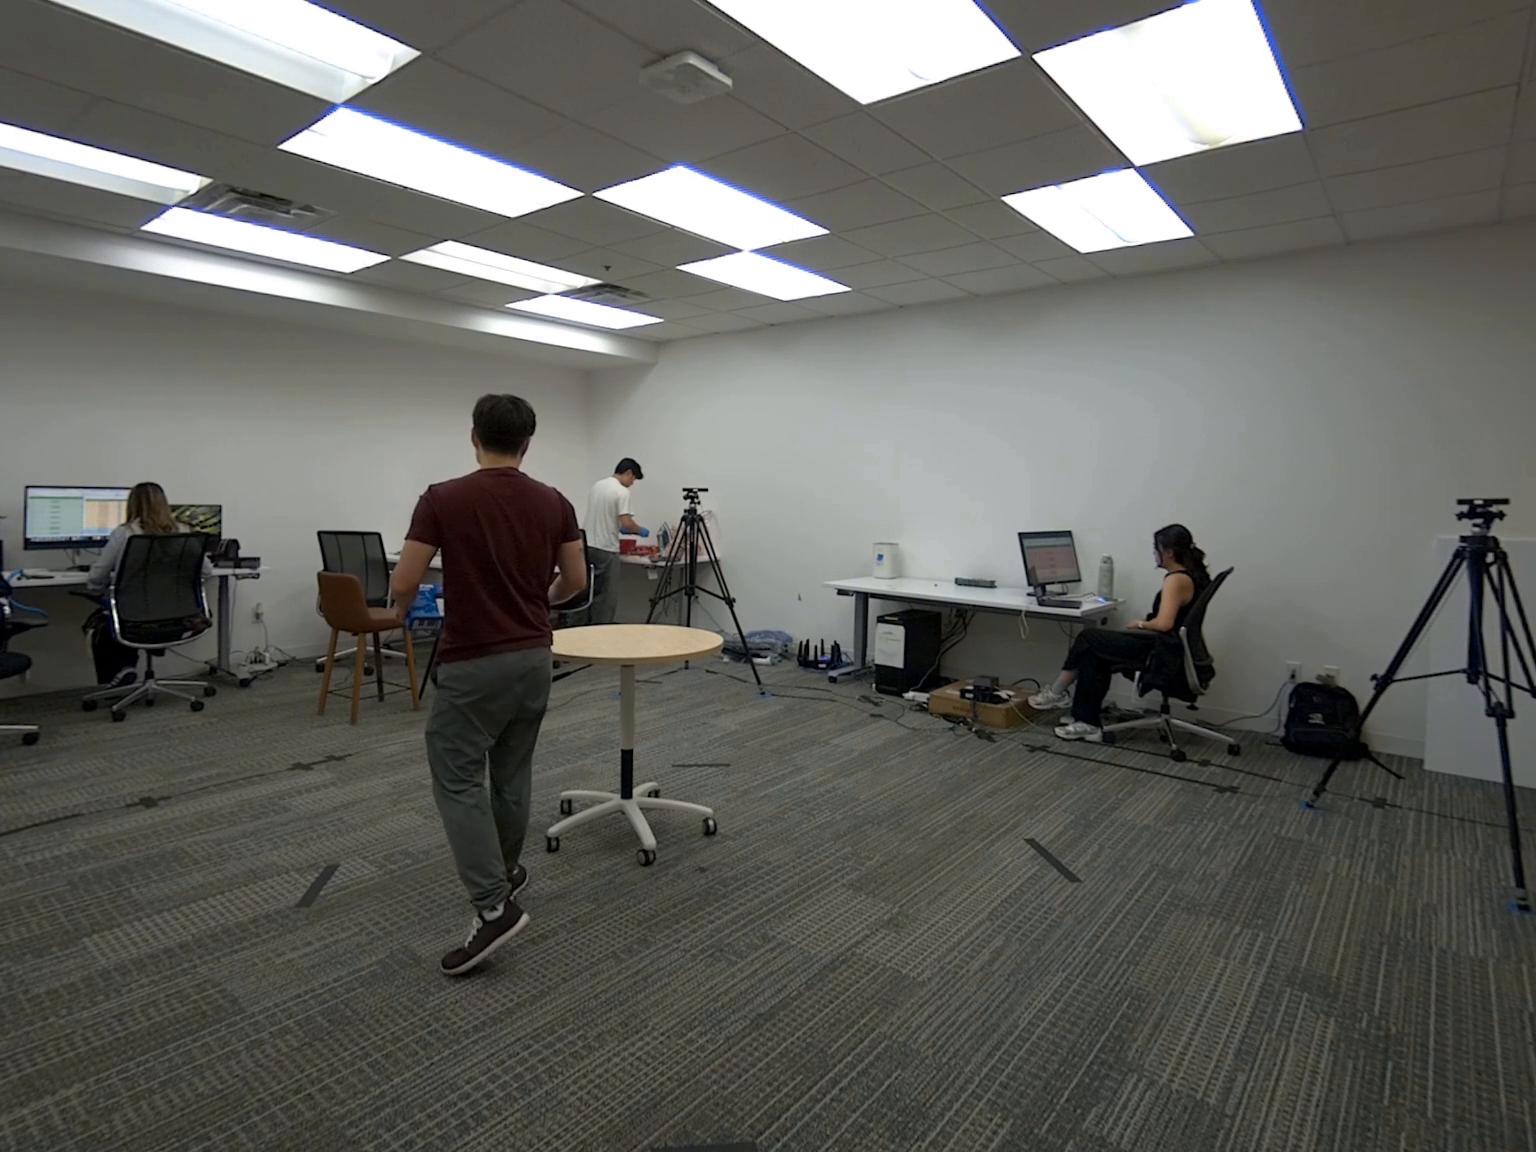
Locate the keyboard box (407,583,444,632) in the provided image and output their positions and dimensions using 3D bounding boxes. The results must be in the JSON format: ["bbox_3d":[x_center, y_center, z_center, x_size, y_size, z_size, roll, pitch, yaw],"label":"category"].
[{"bbox_3d":[-1.019,0.104,2.912,0.423,0.058,0.183,1,37,-36],"label":"keyboard box"}]
